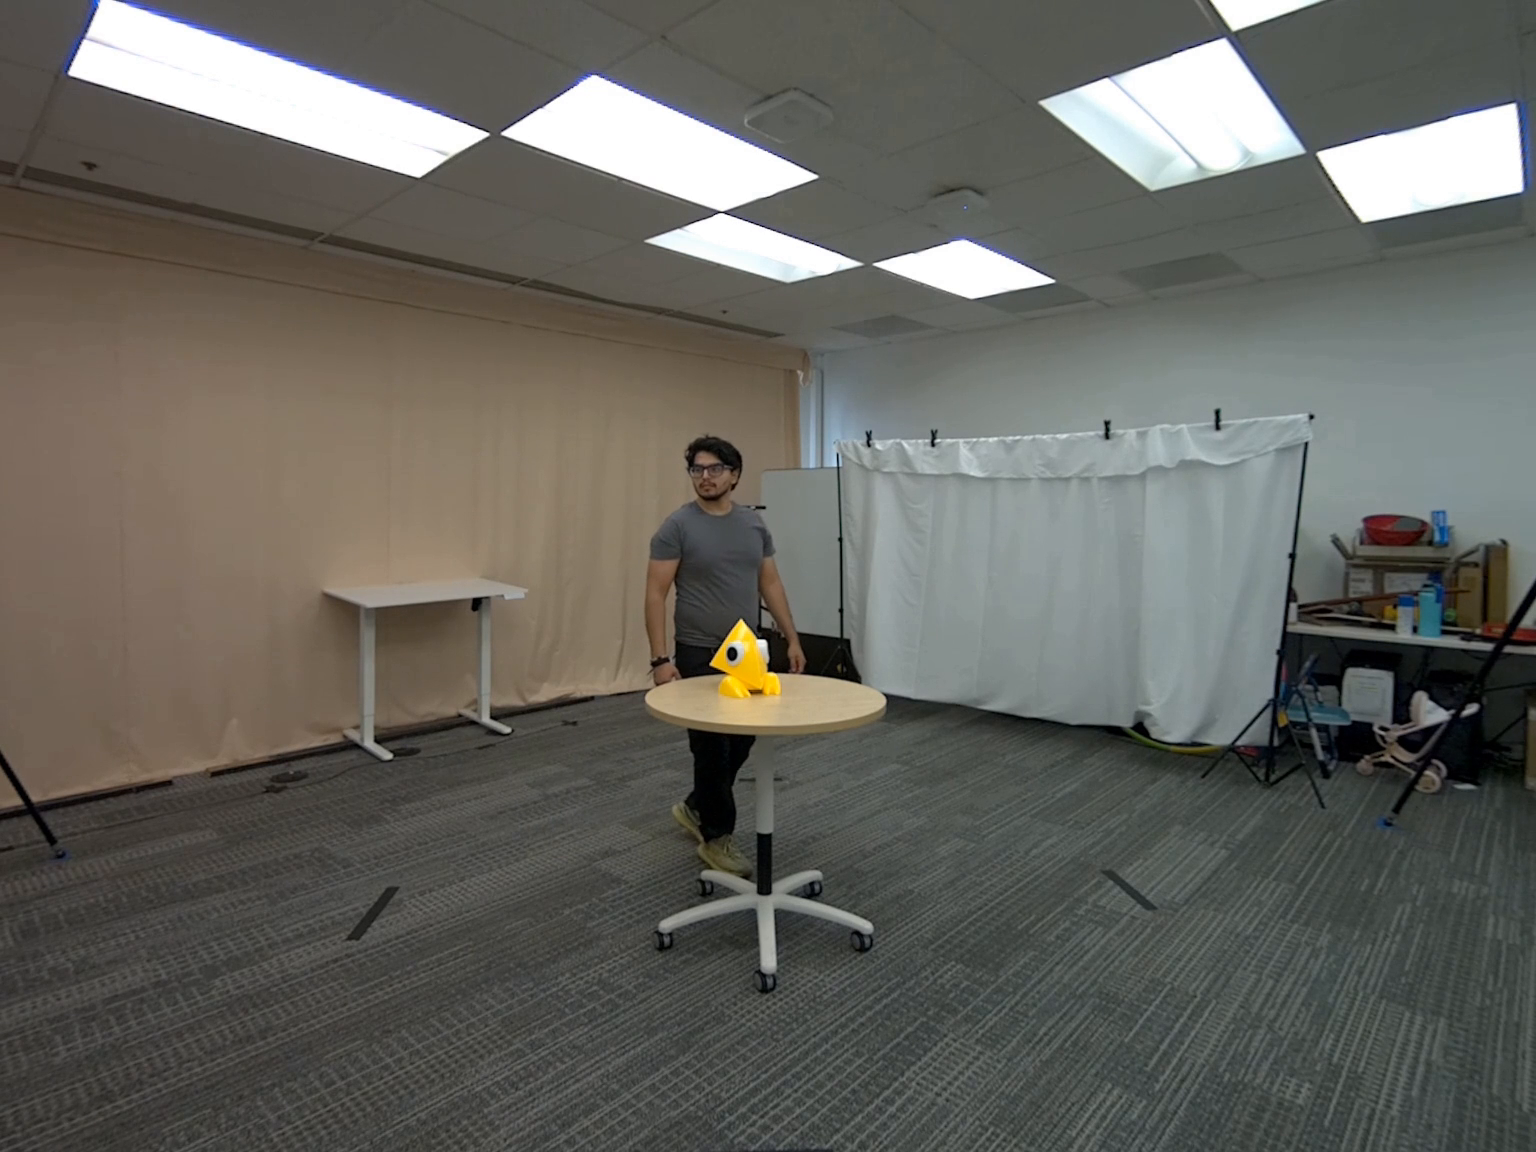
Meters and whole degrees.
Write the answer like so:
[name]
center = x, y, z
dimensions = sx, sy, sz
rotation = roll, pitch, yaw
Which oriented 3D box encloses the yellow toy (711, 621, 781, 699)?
[yellow toy]
center = -0.064, 0.266, 2.771
dimensions = 0.200, 0.230, 0.198
rotation = -1, 3, -24
